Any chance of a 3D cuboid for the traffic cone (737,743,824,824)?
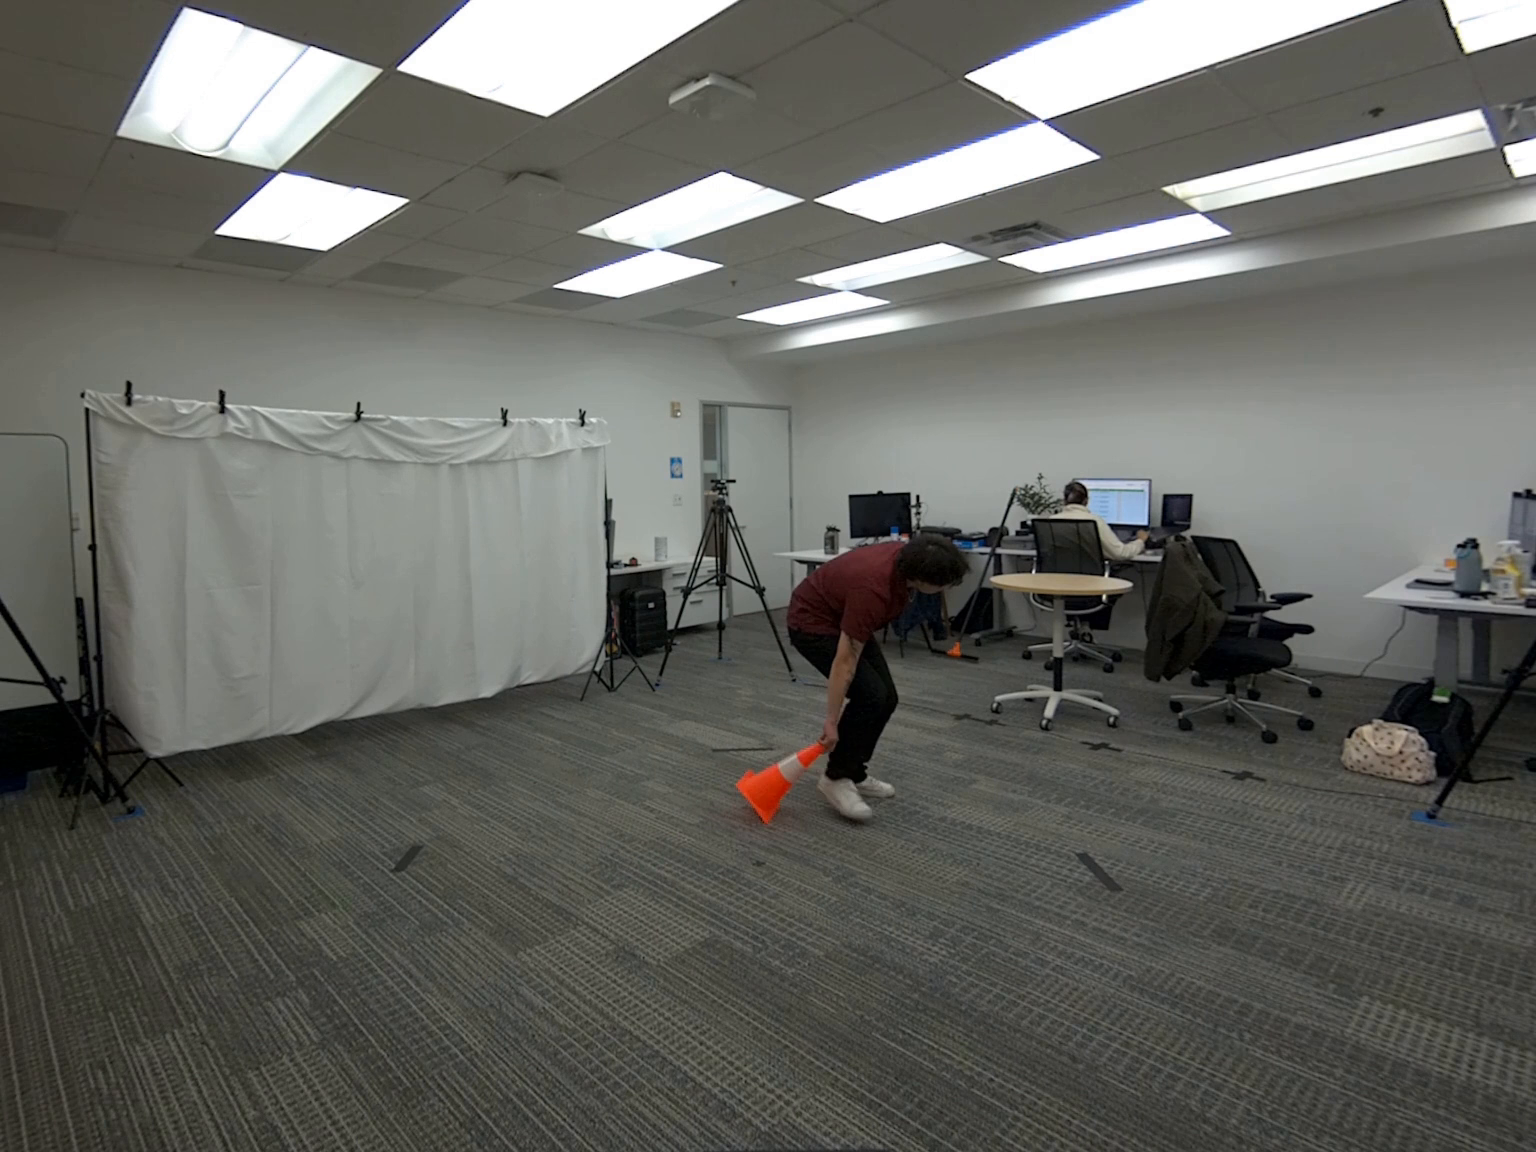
[{"bbox_3d":[0.096,0.804,3.524,0.384,0.209,0.199,-40,-21,14],"label":"traffic cone"}]
